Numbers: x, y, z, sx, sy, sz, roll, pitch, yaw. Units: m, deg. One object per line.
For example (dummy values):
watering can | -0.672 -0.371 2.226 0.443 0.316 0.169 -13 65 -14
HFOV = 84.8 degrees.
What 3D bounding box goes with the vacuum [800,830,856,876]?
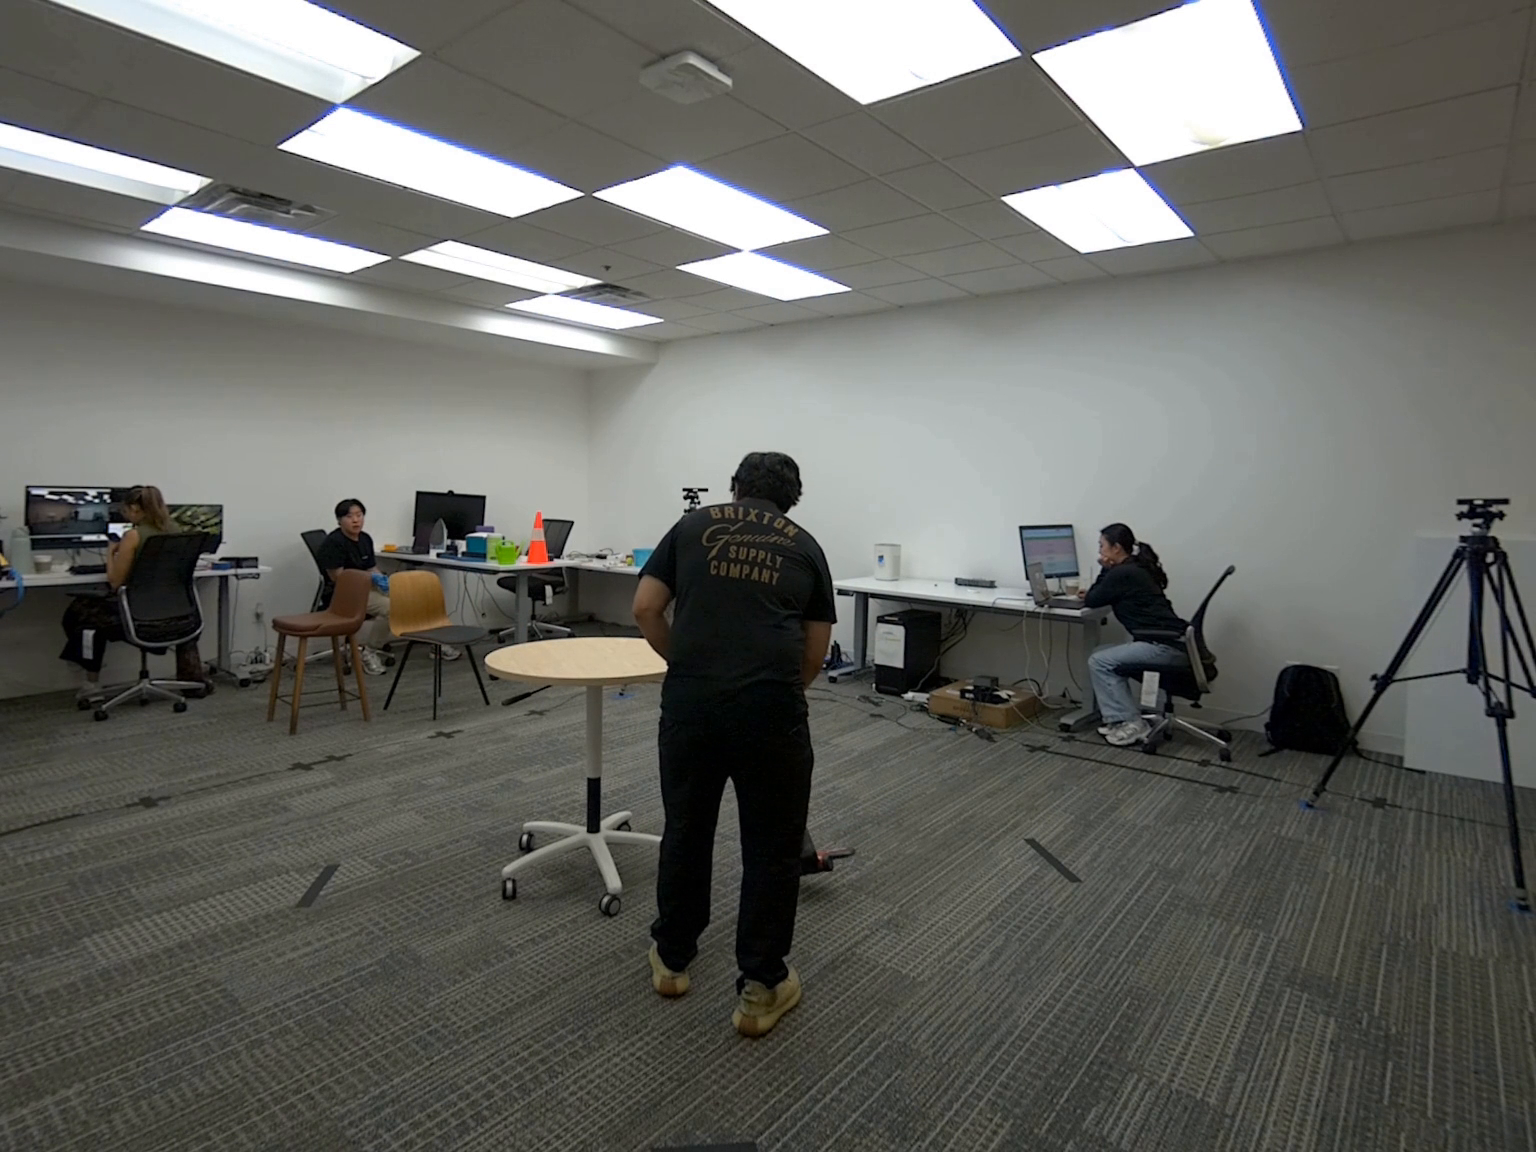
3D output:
vacuum | -0.040 0.643 2.682 0.254 1.010 0.148 -21 35 11
